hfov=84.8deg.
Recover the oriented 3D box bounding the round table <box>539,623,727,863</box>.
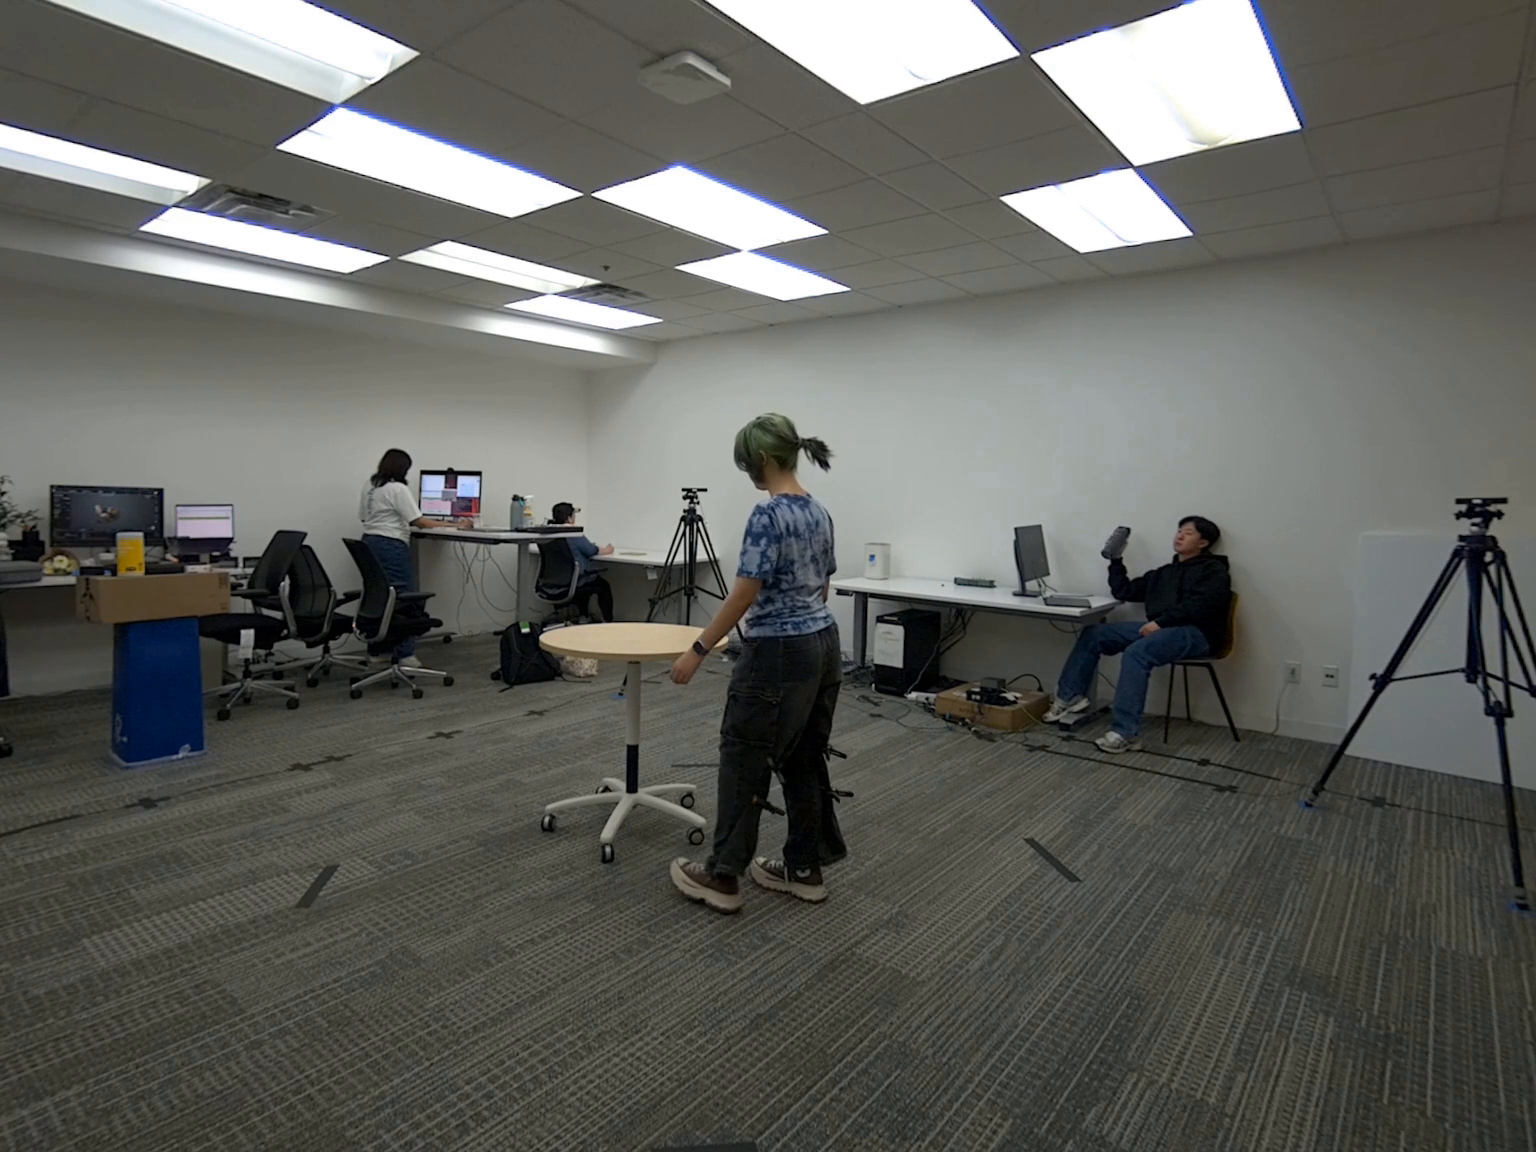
[{"bbox_3d":[-0.569,0.638,3.491,0.763,0.792,0.767,1,4,-2],"label":"round table"}]
